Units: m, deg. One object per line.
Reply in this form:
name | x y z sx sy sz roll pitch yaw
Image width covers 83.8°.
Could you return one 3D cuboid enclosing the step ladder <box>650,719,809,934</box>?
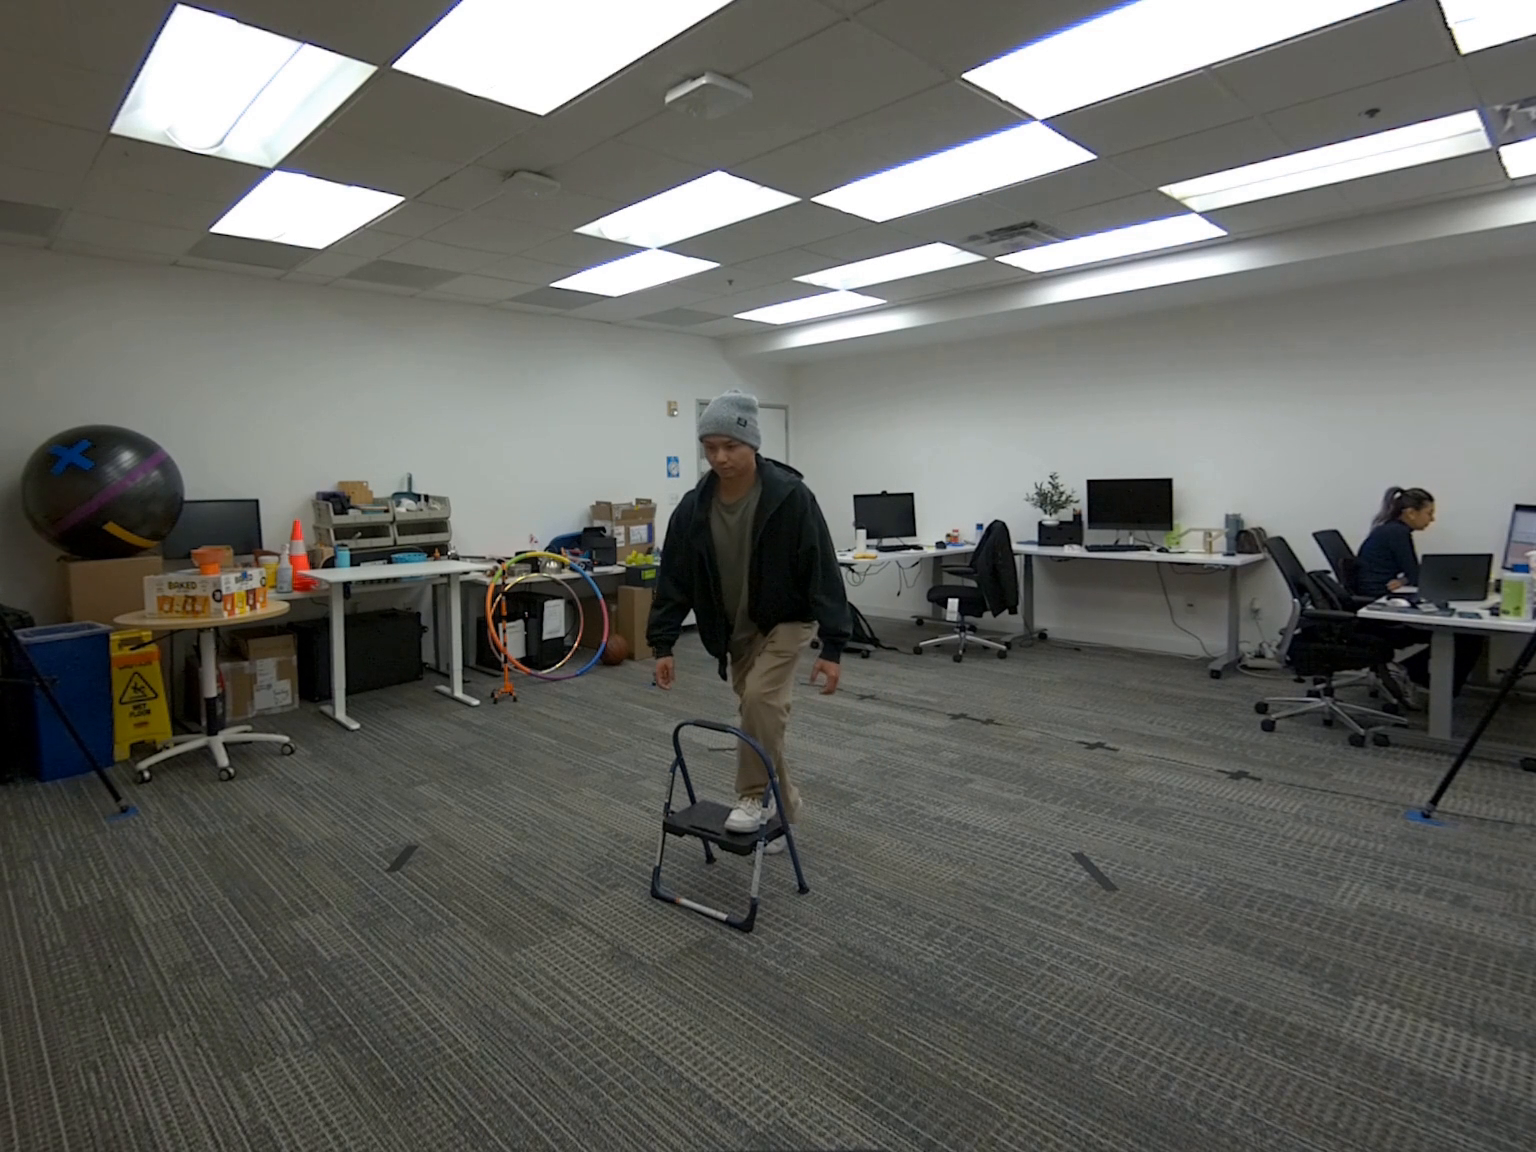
step ladder | -0.137 0.772 2.864 0.443 0.604 0.341 2 6 35
